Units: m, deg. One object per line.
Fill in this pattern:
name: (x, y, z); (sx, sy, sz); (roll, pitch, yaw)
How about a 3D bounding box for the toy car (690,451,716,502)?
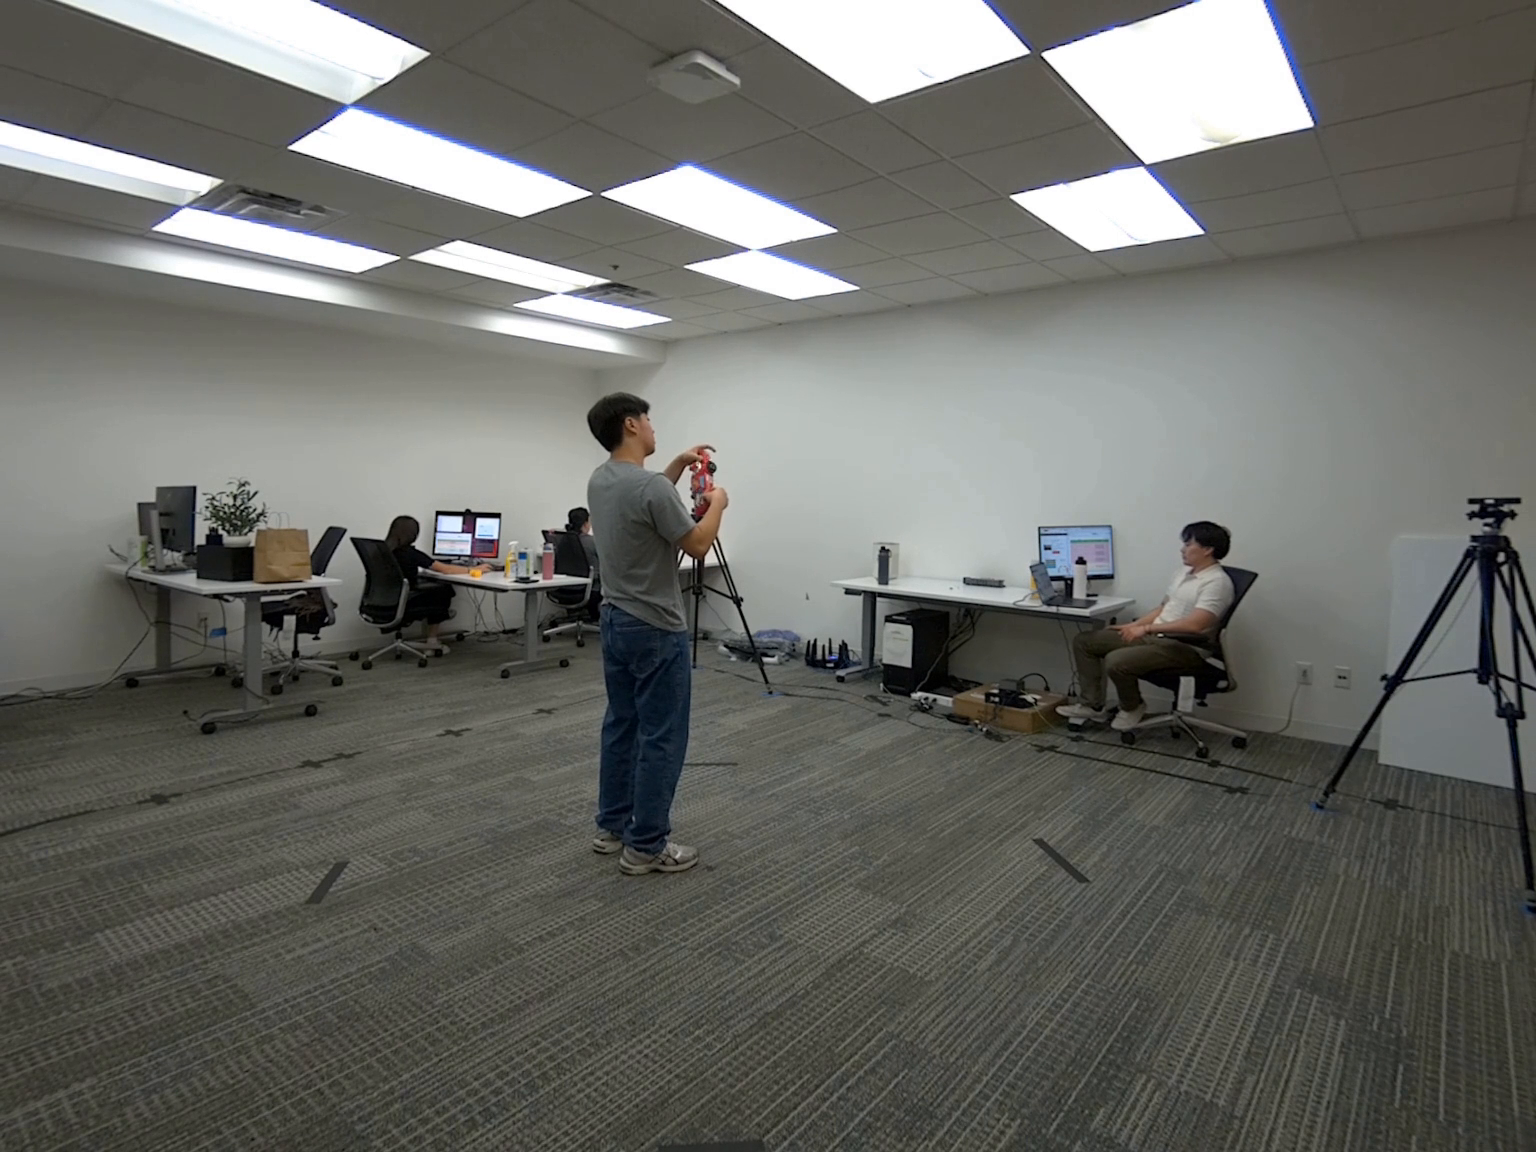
toy car: (-0.269, -0.375, 3.385); (0.081, 0.258, 0.132); (-2, -16, -33)
